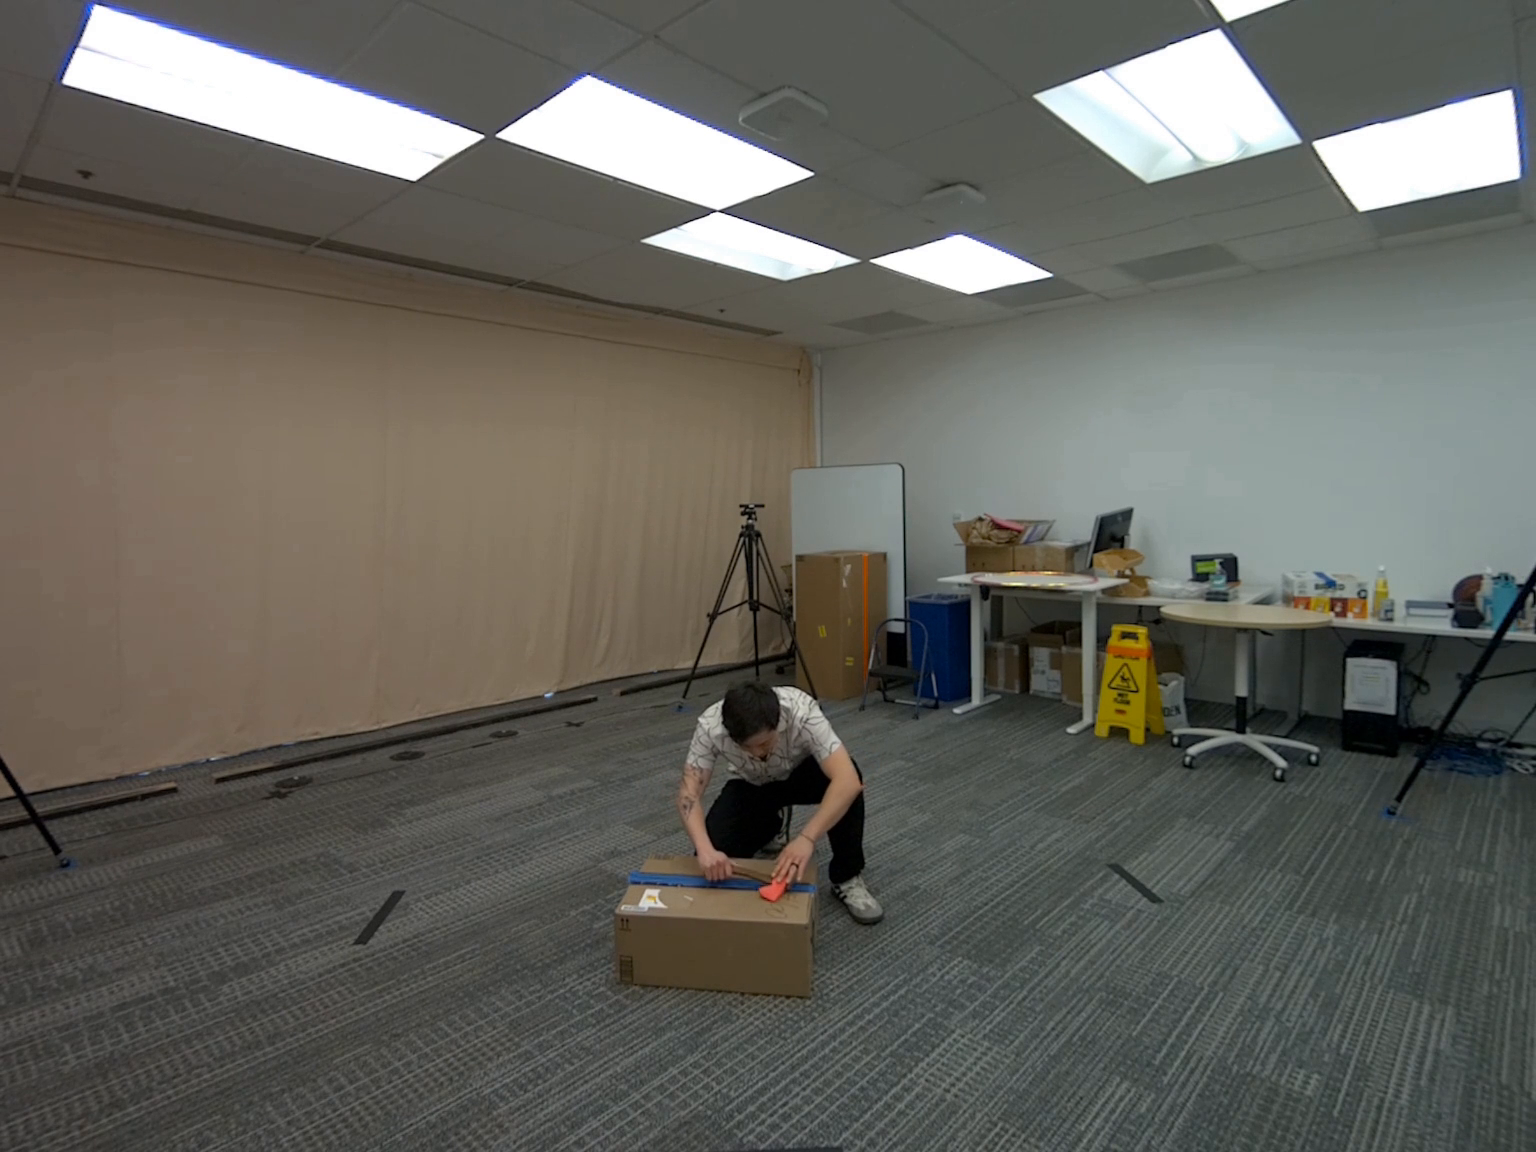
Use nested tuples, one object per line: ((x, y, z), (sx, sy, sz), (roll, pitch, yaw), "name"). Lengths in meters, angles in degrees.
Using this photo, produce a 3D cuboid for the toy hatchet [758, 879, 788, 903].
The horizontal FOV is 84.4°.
((-0.066, 0.929, 2.550), (0.271, 0.029, 0.132), (0, 23, 5), "toy hatchet")
